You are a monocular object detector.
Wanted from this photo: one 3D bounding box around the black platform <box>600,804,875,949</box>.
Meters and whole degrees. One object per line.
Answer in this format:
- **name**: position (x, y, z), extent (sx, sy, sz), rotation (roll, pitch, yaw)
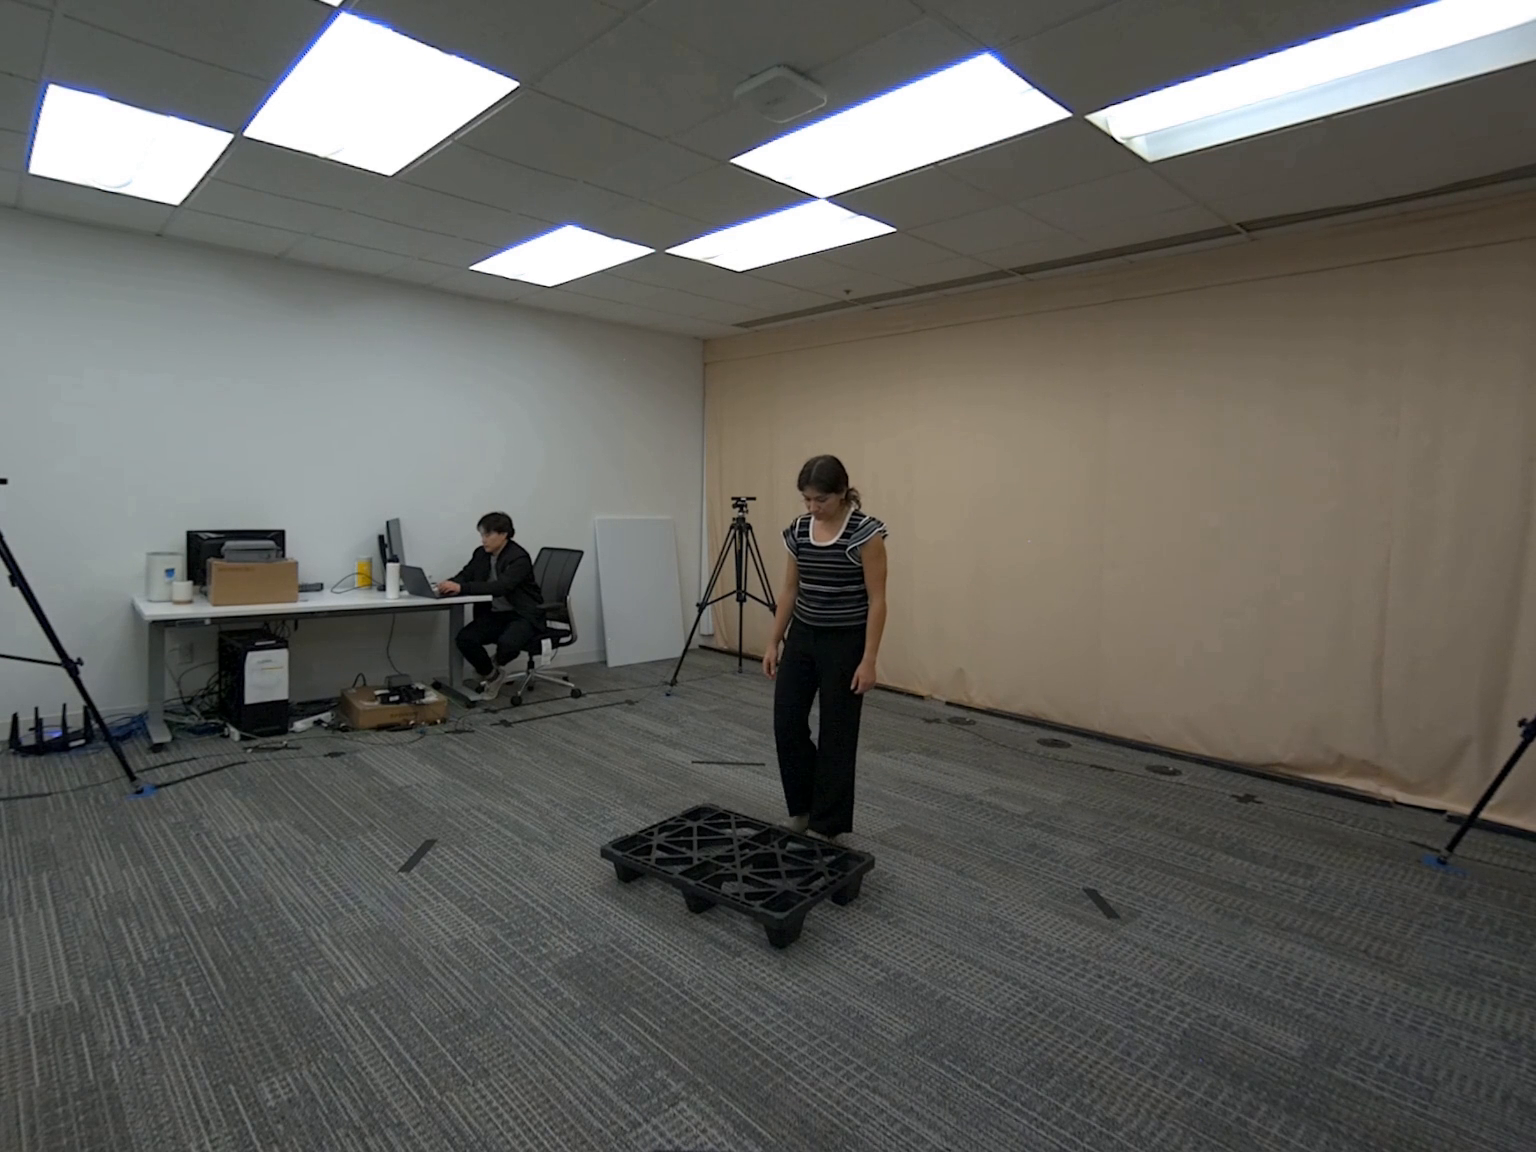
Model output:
- **black platform**: position (-0.121, 1.050, 2.997), extent (0.825, 0.143, 0.592), rotation (5, 7, 37)
